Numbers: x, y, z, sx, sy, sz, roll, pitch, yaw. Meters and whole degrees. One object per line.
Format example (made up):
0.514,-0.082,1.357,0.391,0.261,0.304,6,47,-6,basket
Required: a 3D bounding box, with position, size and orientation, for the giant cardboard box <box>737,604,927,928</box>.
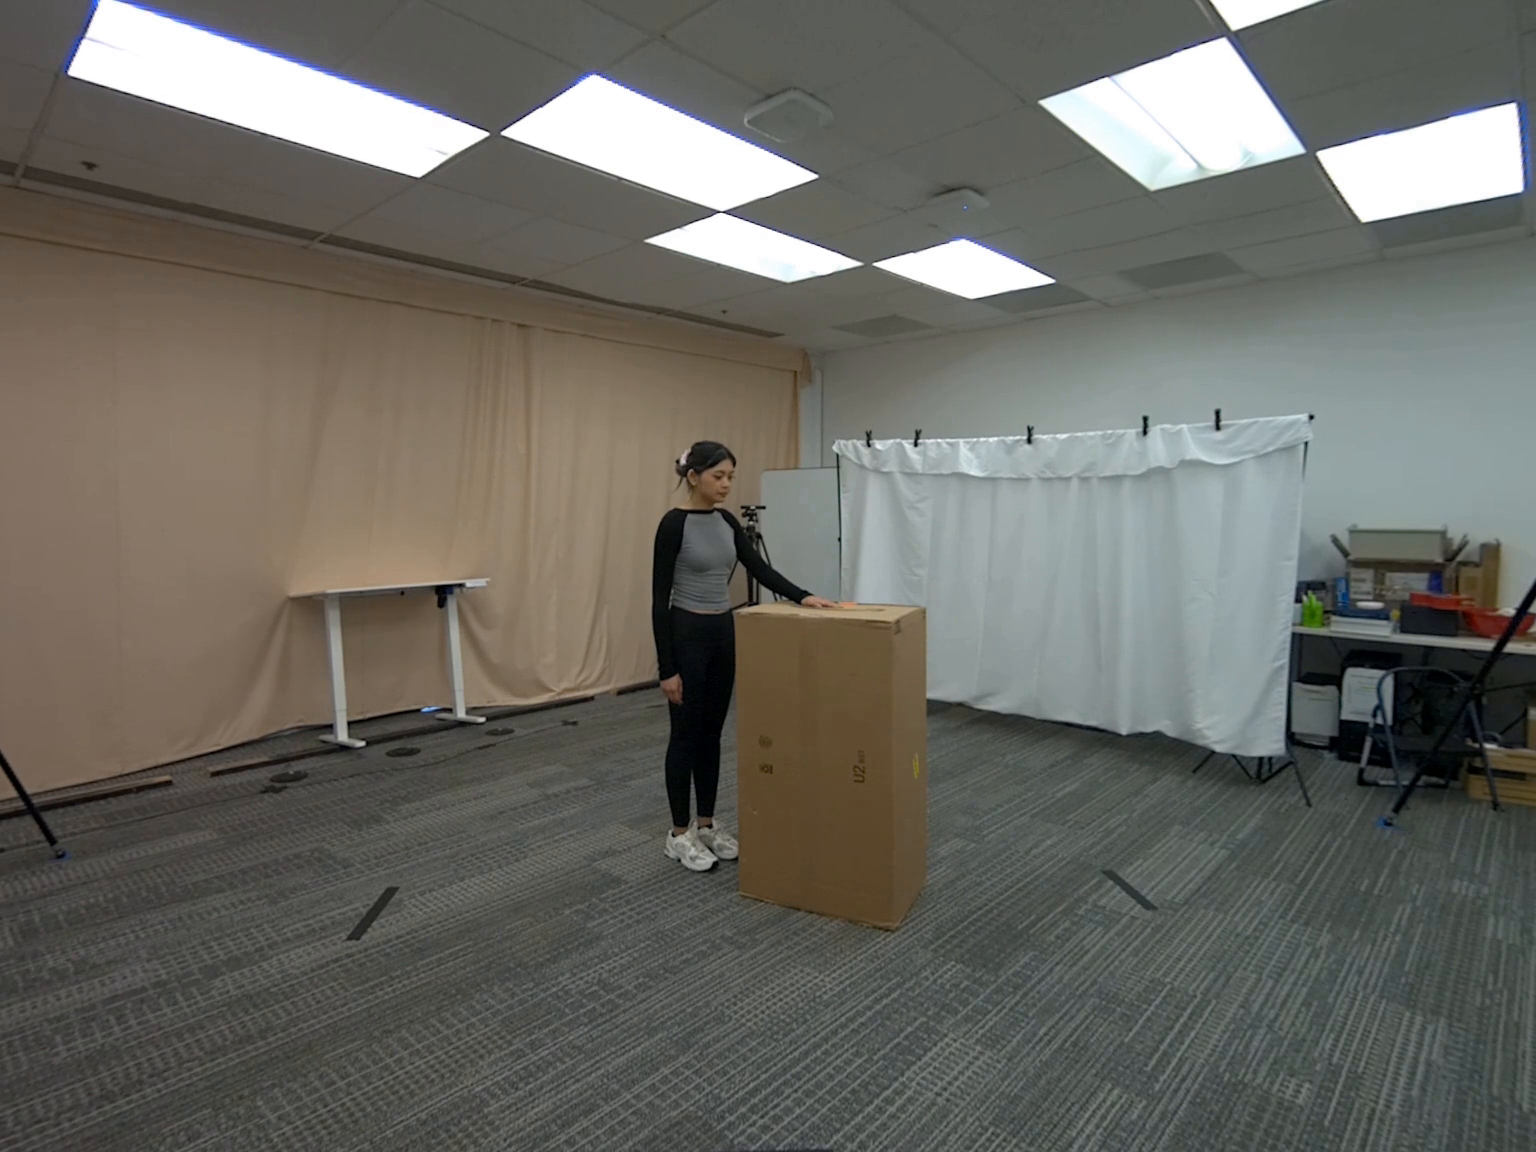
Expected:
0.244,0.633,3.039,0.599,1.024,0.436,1,4,26,giant cardboard box
